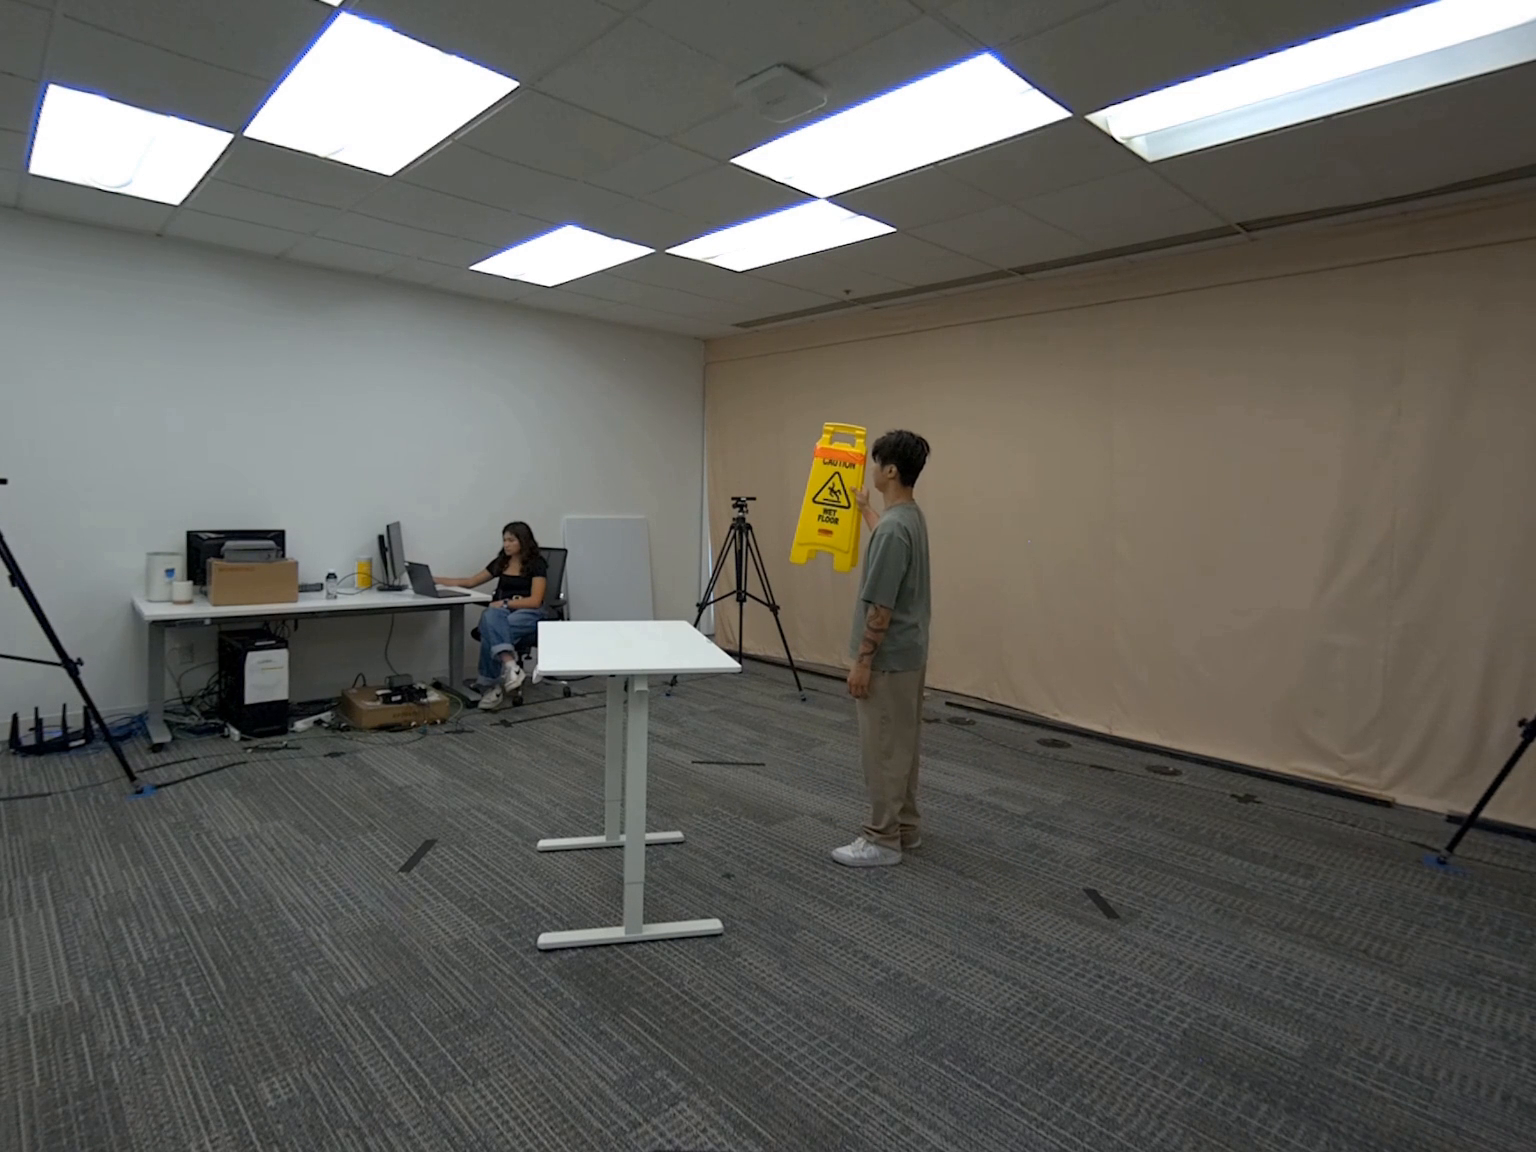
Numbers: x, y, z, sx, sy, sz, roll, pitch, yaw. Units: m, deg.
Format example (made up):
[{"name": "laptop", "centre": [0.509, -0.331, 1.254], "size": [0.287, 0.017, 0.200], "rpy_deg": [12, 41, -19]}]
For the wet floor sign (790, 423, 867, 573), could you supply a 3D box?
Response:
[{"name": "wet floor sign", "centre": [0.305, -0.368, 3.883], "size": [0.286, 0.643, 0.287], "rpy_deg": [10, 8, 14]}]
